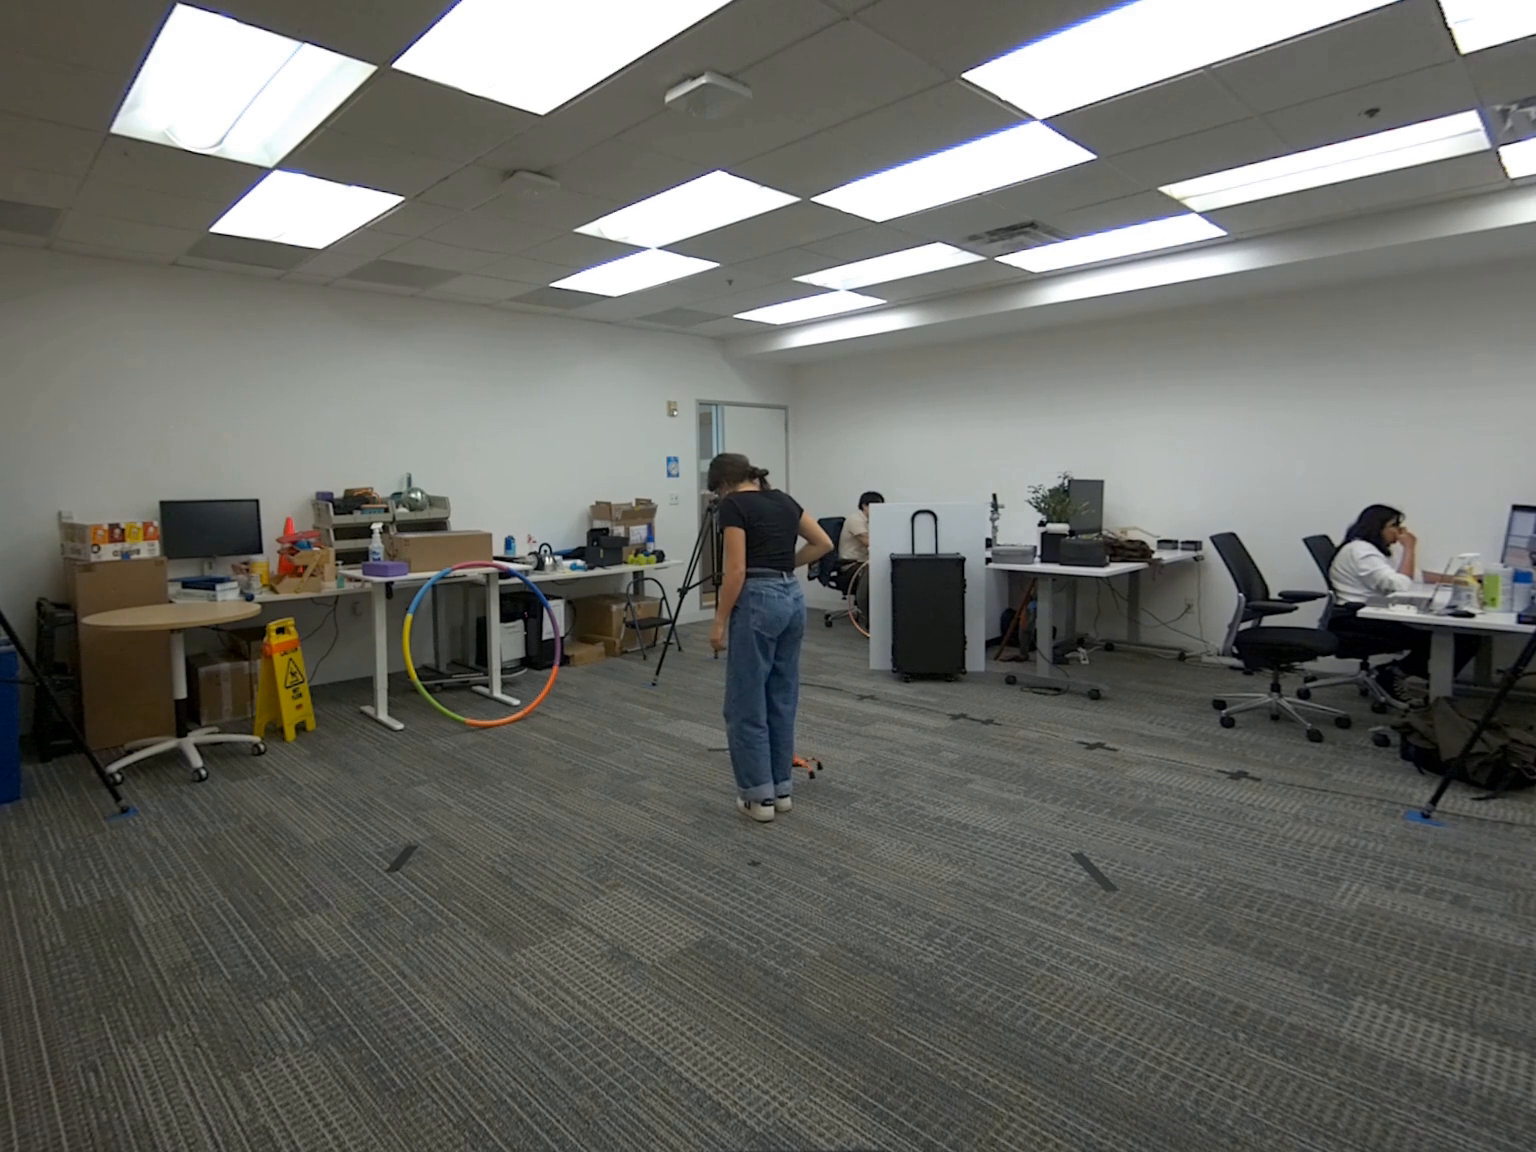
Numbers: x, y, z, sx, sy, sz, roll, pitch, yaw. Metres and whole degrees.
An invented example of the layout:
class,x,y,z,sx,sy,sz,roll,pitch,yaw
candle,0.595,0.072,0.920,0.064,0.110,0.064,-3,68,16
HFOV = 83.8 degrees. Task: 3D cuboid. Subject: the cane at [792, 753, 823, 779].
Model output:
class,x,y,z,sx,sy,sz,roll,pitch,yaw
cane,0.053,0.466,3.877,0.210,0.909,0.149,-10,-1,23
